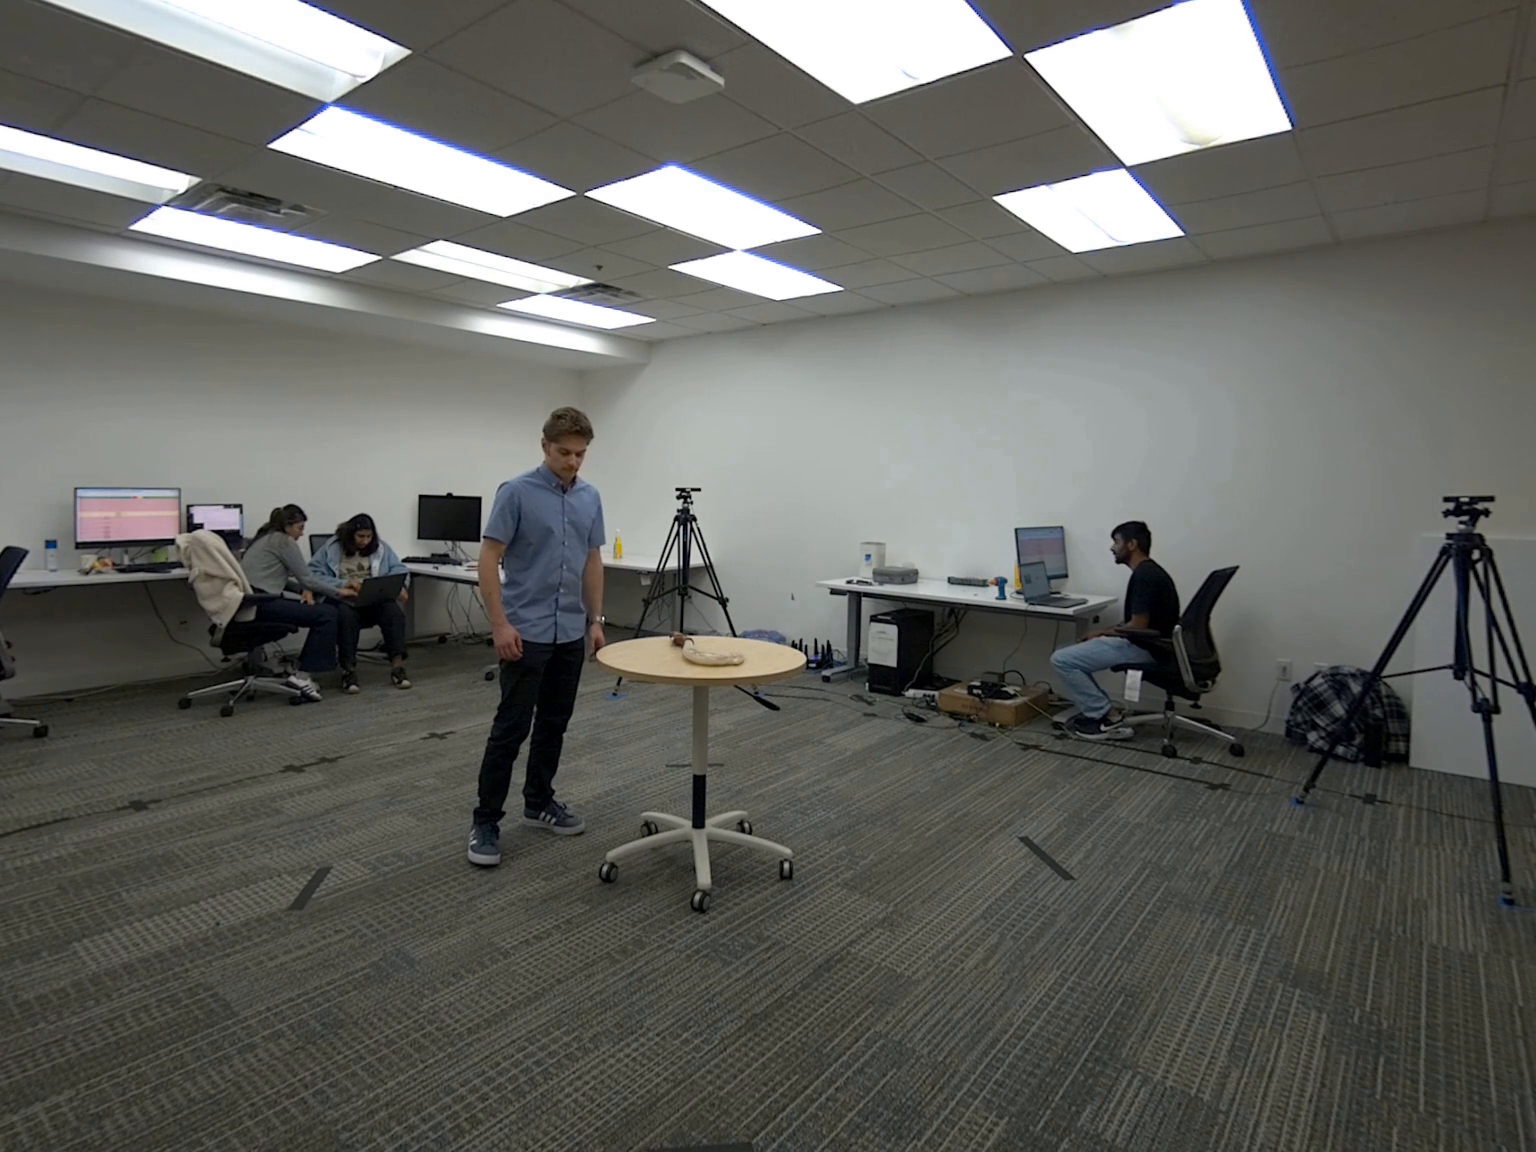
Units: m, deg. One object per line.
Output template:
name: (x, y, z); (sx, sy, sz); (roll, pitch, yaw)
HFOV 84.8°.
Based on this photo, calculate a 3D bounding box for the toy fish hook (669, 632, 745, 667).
toy fish hook: (-0.246, 0.269, 3.141); (0.220, 0.048, 0.518); (6, 5, -19)
